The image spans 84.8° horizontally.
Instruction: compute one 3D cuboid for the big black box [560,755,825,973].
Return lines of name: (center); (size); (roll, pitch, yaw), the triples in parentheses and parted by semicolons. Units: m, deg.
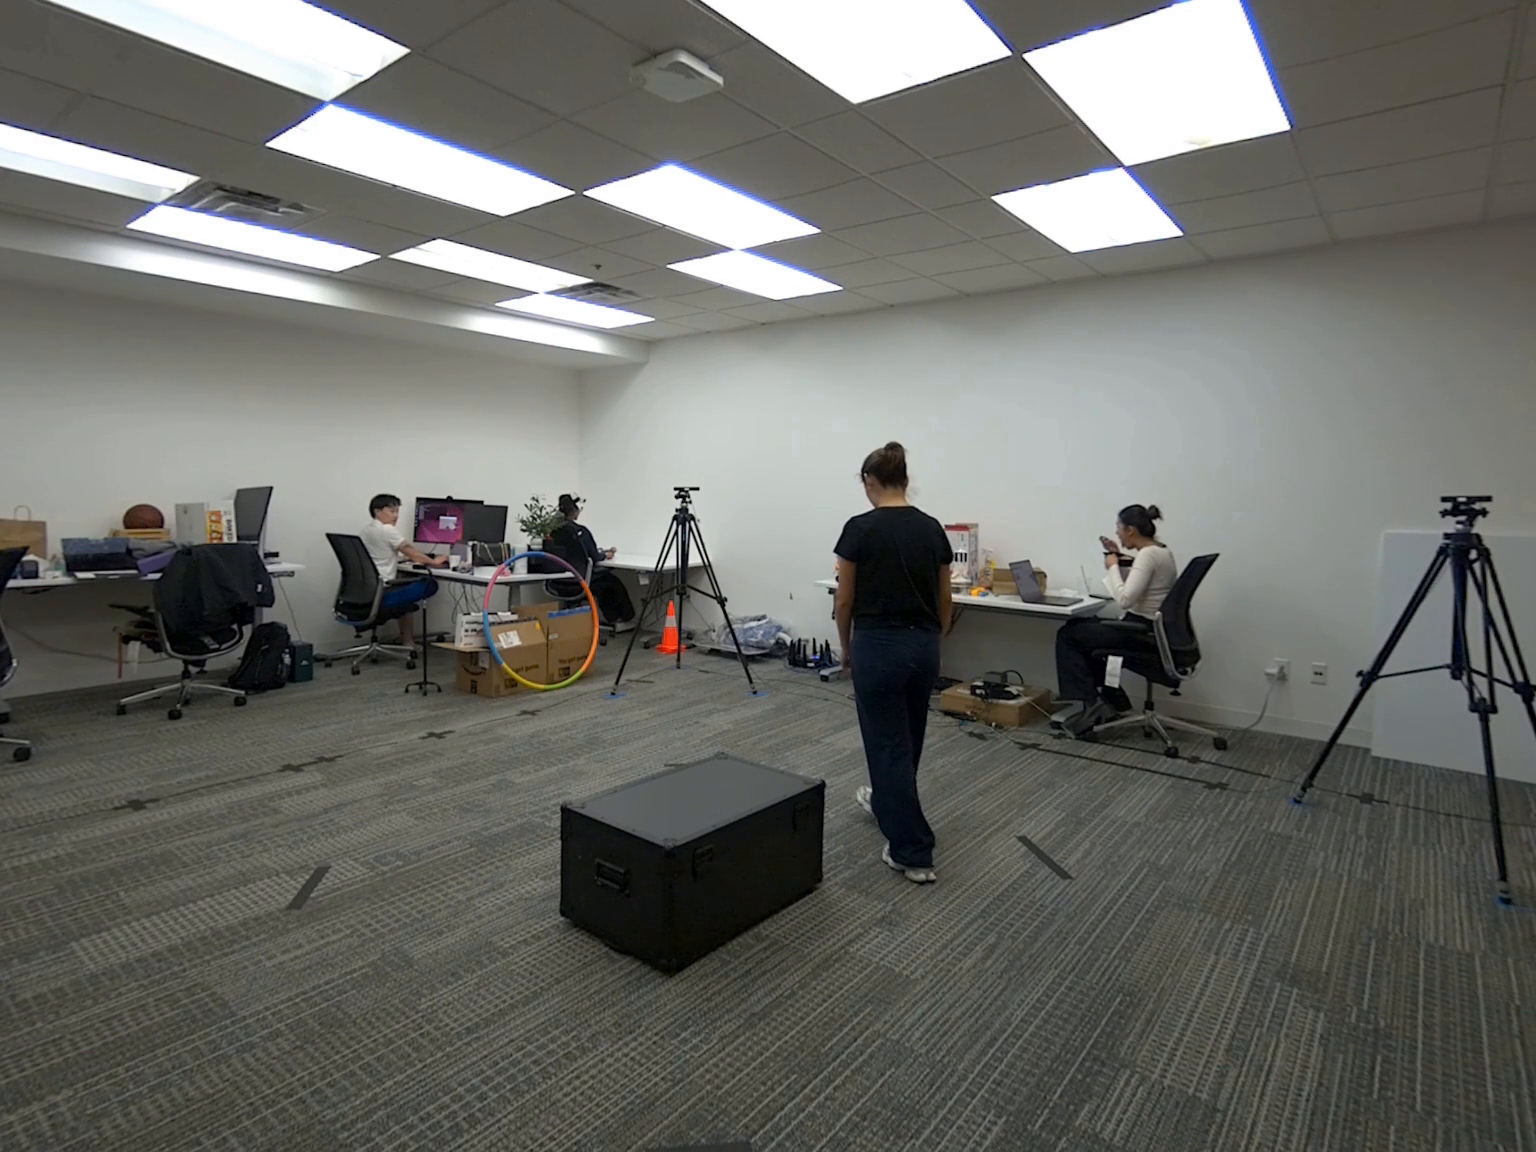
big black box: (-0.199, 0.900, 2.863); (0.539, 0.395, 0.836); (5, 6, 39)
